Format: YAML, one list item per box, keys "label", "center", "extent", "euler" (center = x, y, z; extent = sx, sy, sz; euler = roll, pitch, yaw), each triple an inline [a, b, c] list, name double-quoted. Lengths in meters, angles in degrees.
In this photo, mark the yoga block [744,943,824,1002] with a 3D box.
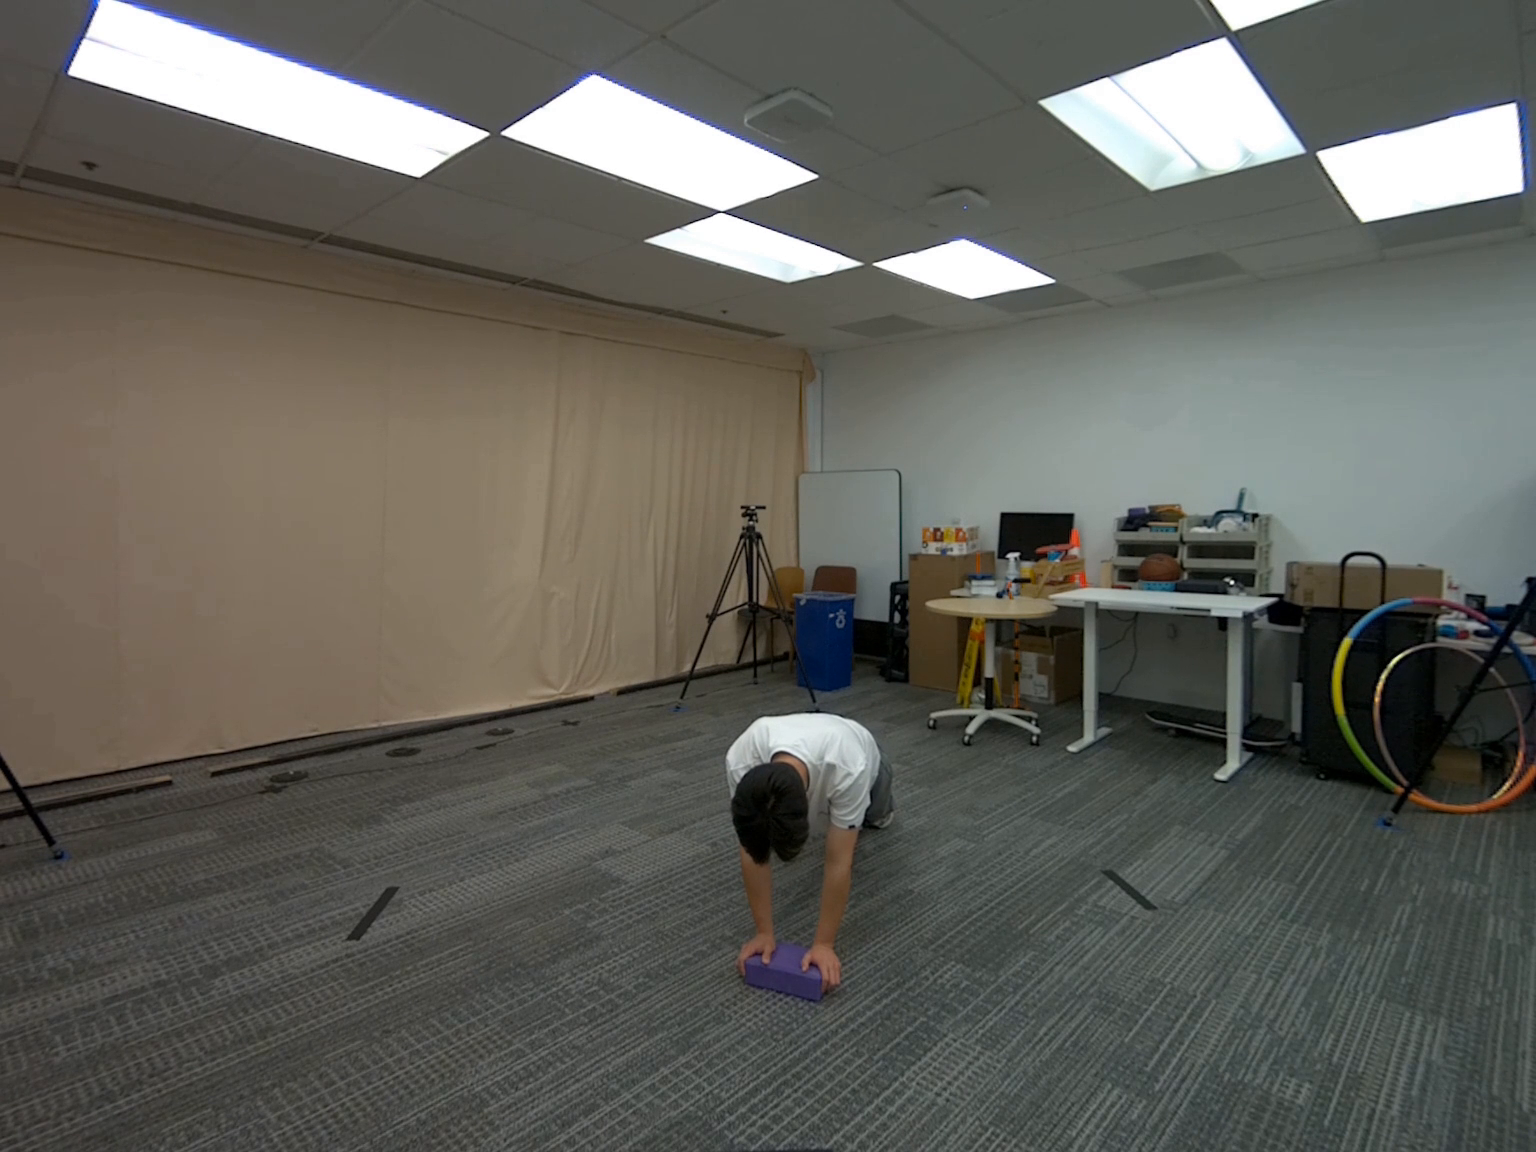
- label: "yoga block"
  center: [0.072, 1.155, 2.462]
  extent: [0.235, 0.076, 0.145]
  euler: [3, 6, 25]
